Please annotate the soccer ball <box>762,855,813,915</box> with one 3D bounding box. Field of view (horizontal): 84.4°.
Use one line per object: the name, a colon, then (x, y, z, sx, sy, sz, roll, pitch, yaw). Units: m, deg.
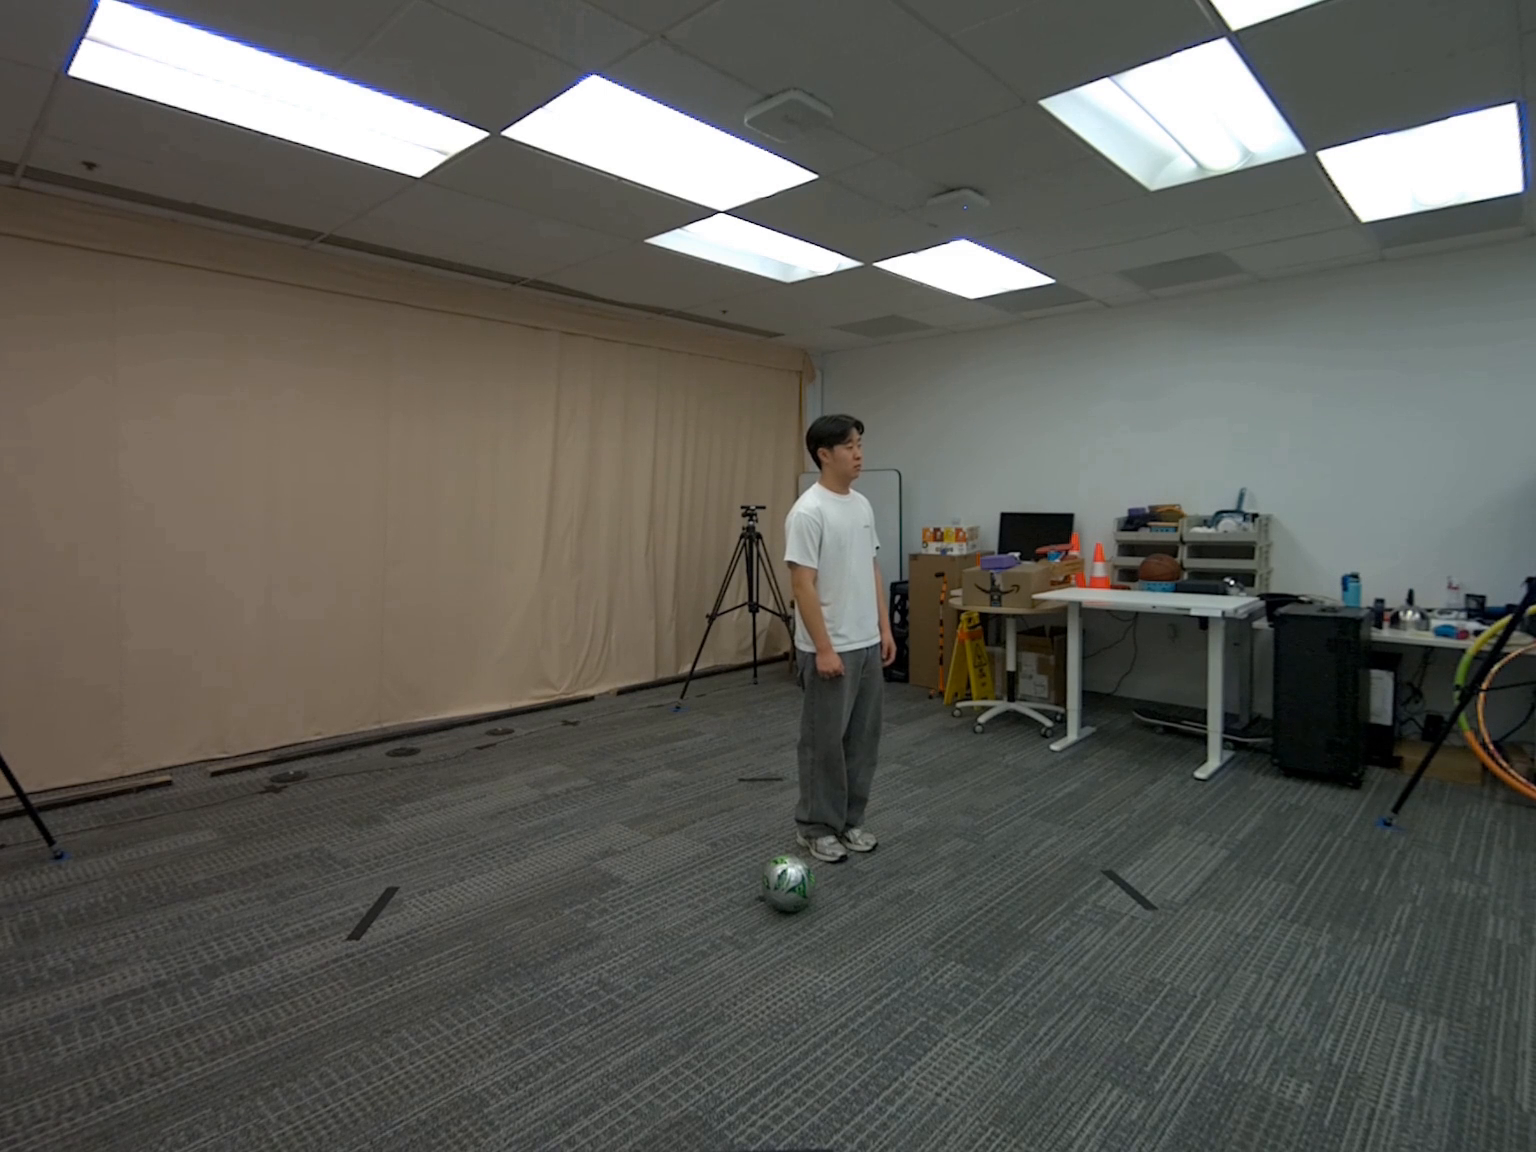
soccer ball: (0.078, 1.057, 2.902, 0.187, 0.187, 0.188, 0, 4, -2)
